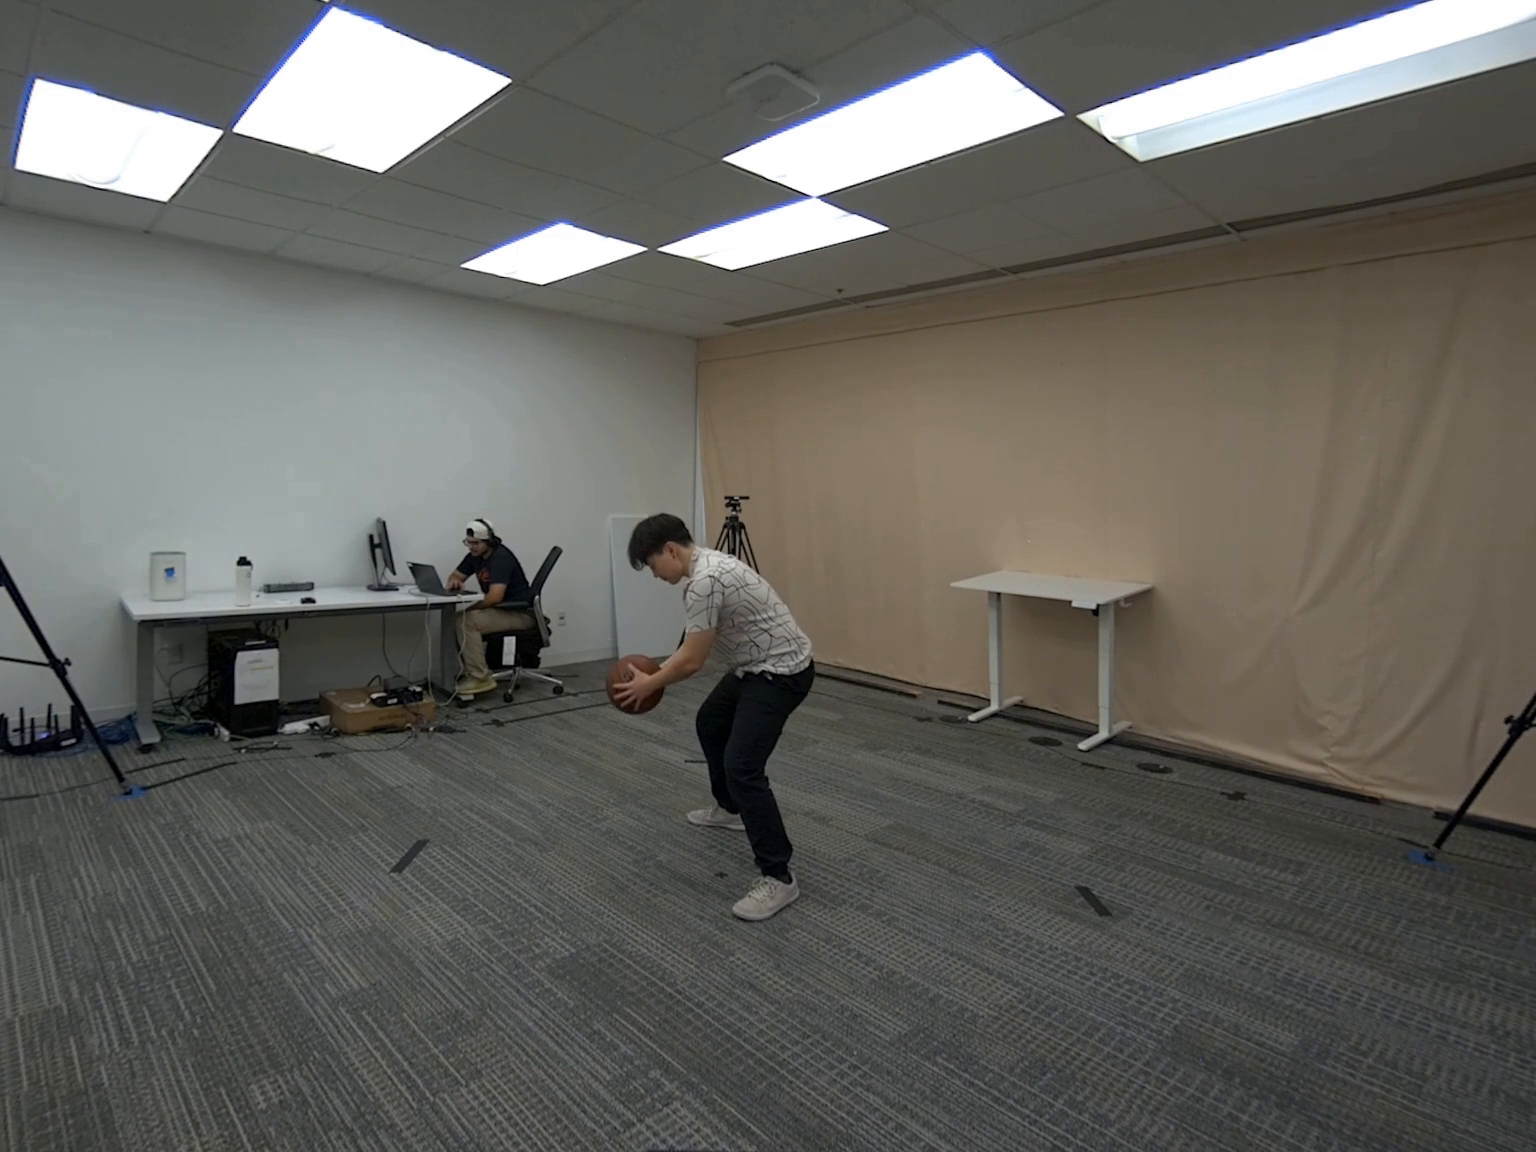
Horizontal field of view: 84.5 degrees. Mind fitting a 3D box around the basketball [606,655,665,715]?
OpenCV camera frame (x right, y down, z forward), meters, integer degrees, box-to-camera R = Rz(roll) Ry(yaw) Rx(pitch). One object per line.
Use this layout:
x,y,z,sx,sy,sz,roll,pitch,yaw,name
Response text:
-0.532,0.427,3.376,0.236,0.235,0.237,1,4,-1,basketball
